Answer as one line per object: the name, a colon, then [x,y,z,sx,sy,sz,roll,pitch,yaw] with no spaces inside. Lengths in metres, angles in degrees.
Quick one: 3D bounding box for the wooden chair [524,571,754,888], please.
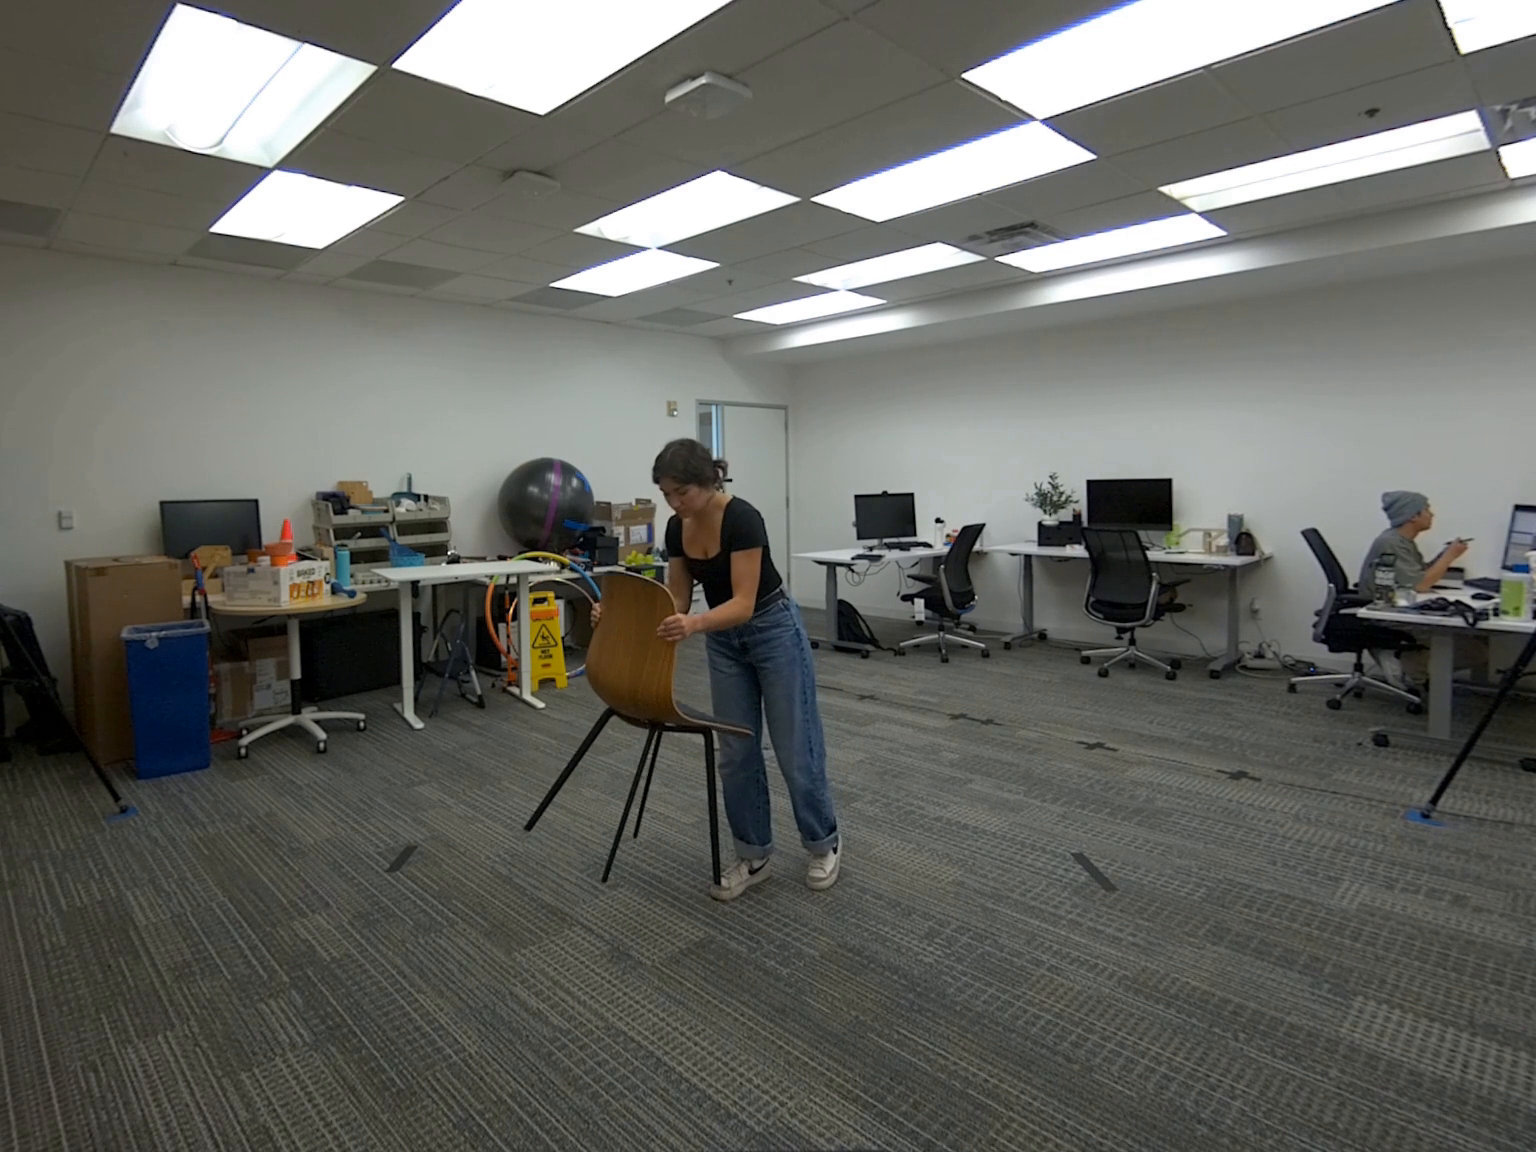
wooden chair: [-0.336,0.463,2.696,0.505,0.881,0.493,16,-7,-43]
